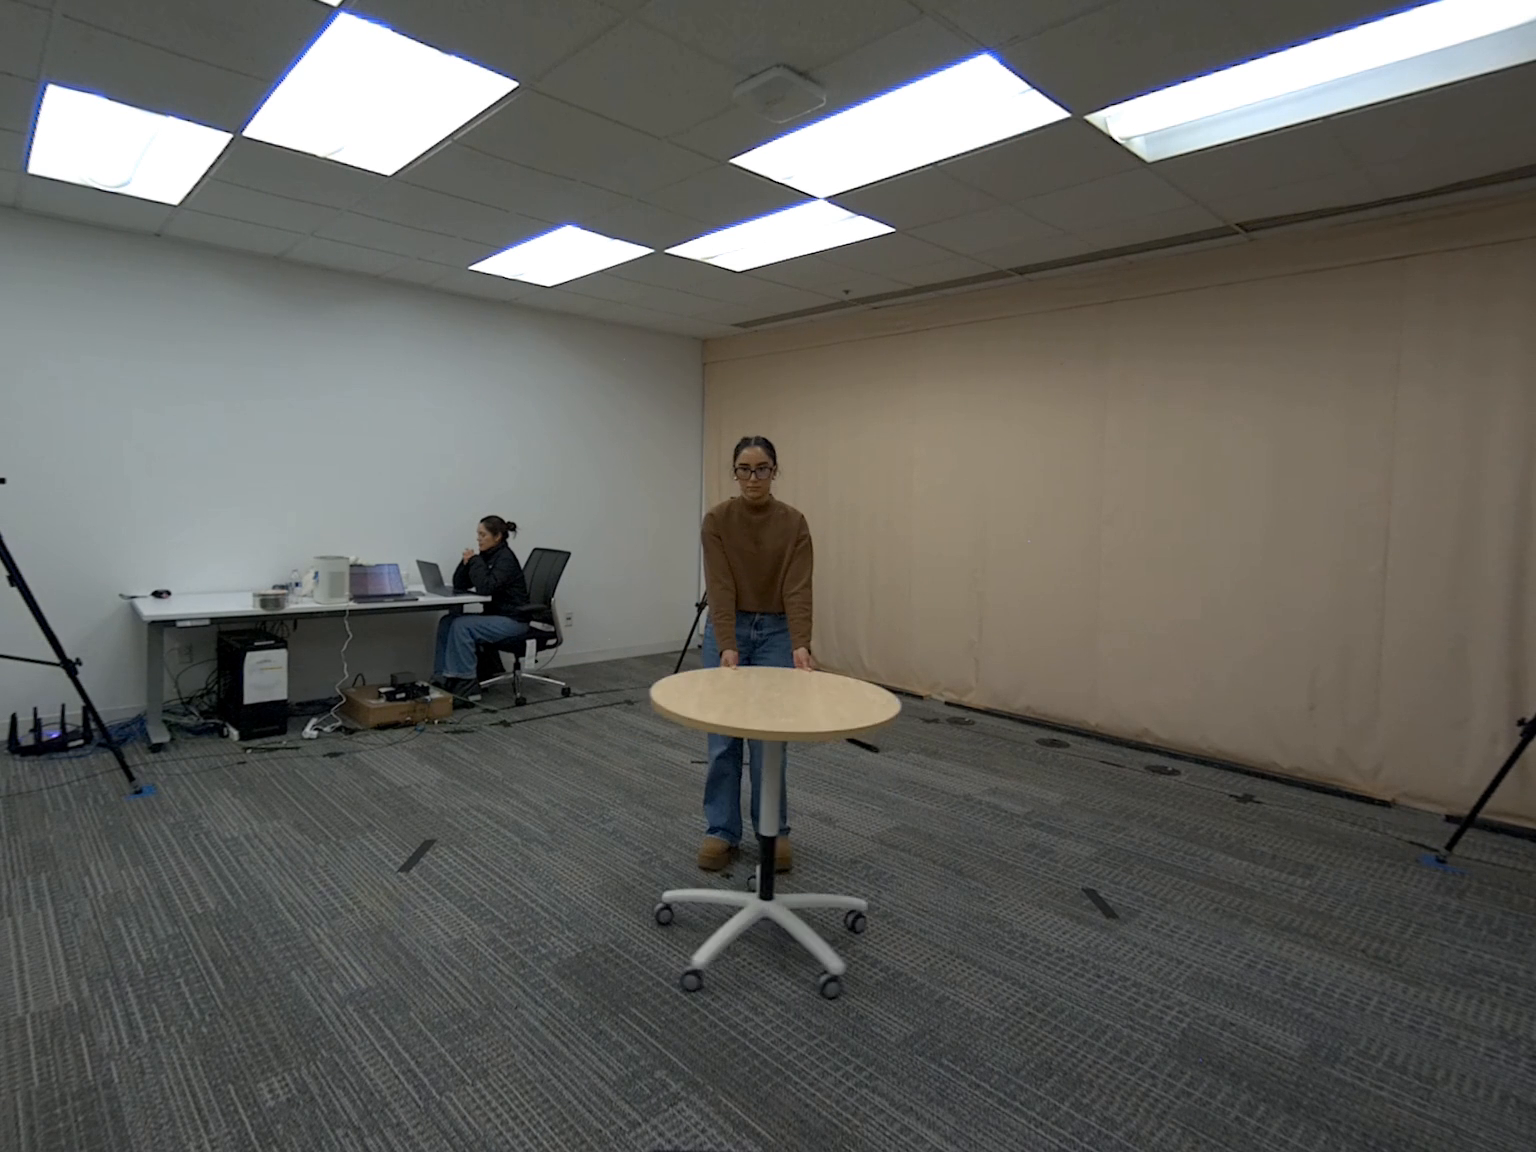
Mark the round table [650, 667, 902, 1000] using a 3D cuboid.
[{"bbox_3d":[-0.024,0.755,2.643,0.784,0.784,0.788,2,4,-2],"label":"round table"}]
